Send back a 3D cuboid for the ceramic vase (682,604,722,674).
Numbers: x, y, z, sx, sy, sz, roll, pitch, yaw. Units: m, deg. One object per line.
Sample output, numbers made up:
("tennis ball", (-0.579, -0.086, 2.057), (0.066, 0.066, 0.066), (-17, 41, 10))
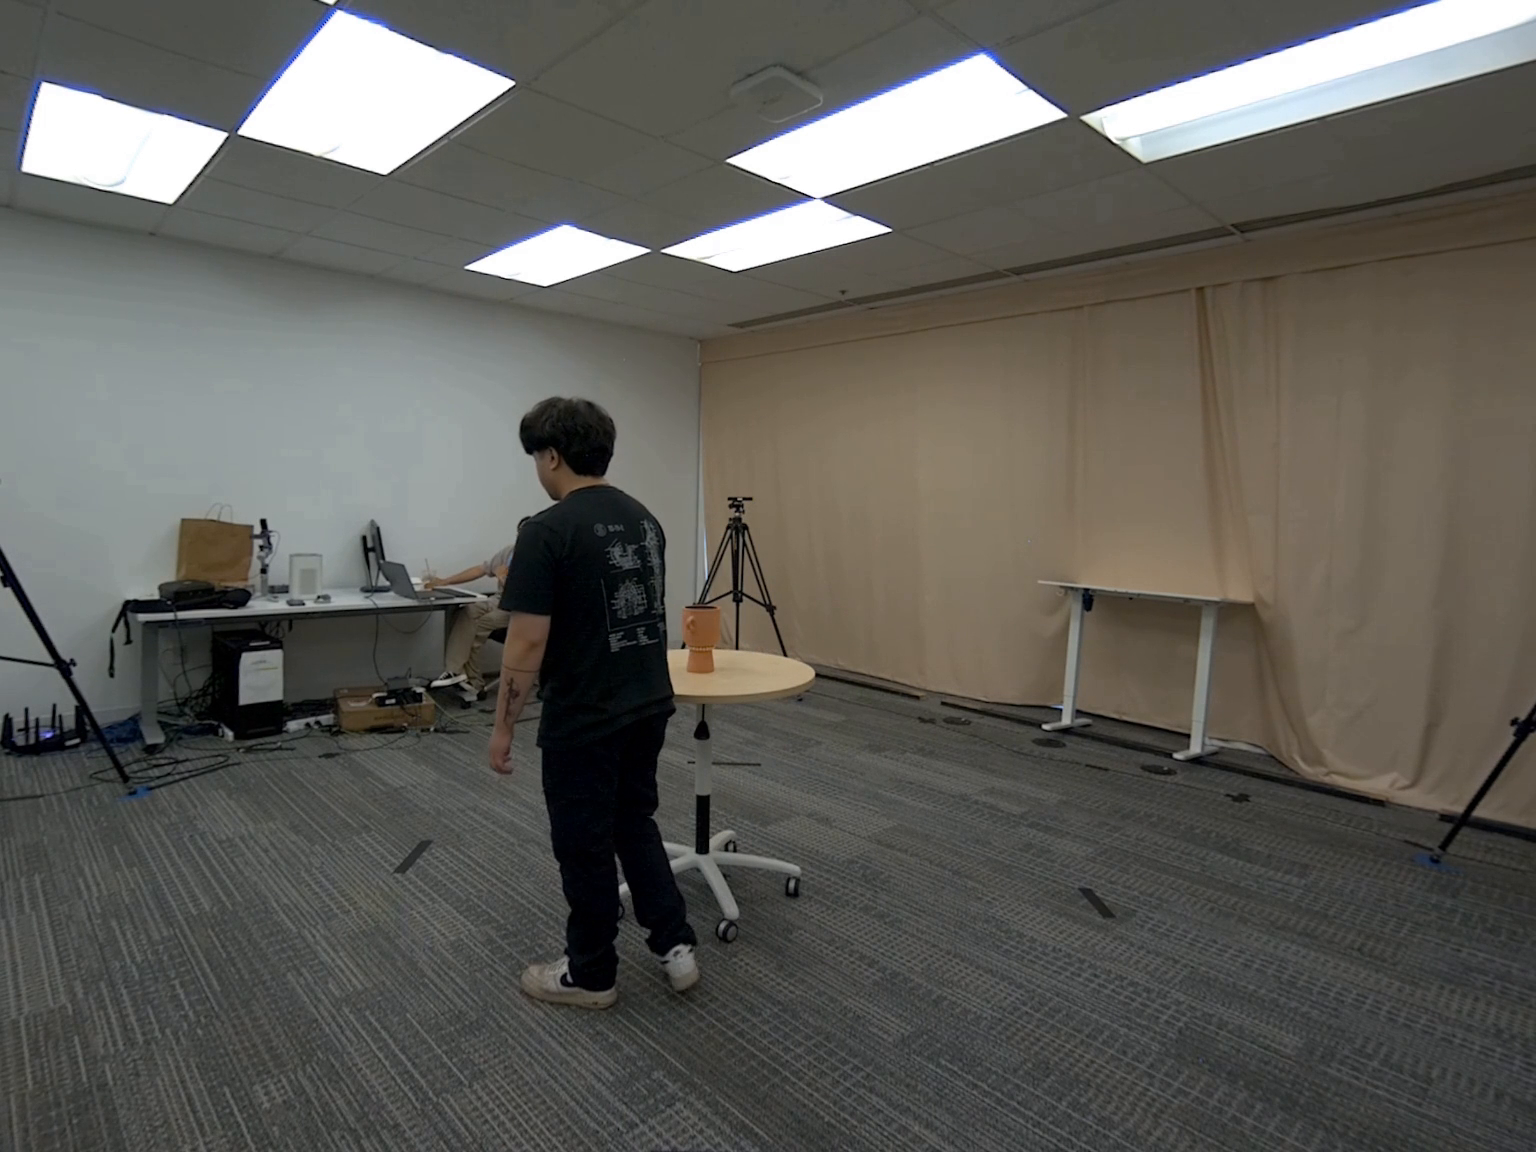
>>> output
("ceramic vase", (-0.240, 0.221, 2.914), (0.156, 0.219, 0.137), (-1, 5, -27))
